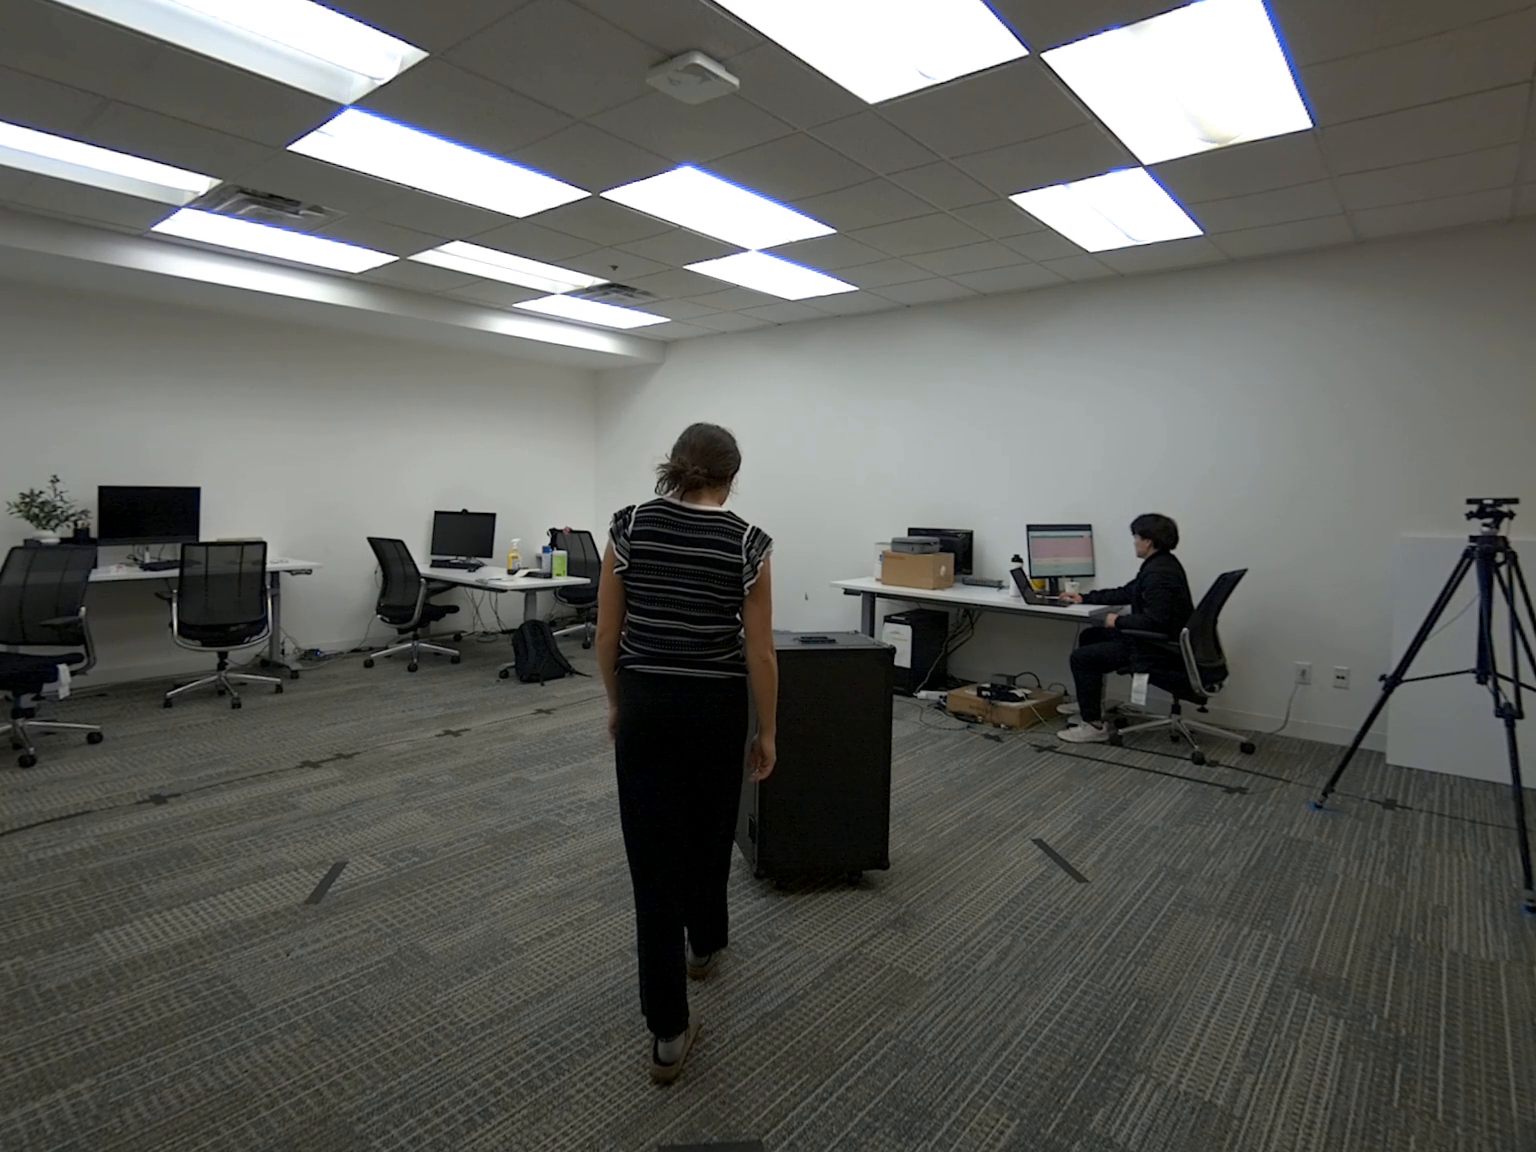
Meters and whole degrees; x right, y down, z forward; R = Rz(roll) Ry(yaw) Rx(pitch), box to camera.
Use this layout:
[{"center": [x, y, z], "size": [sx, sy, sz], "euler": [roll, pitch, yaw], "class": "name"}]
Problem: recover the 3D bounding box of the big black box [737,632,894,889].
[{"center": [0.139, 0.648, 3.092], "size": [0.514, 0.860, 0.402], "euler": [1, 2, -13], "class": "big black box"}]
